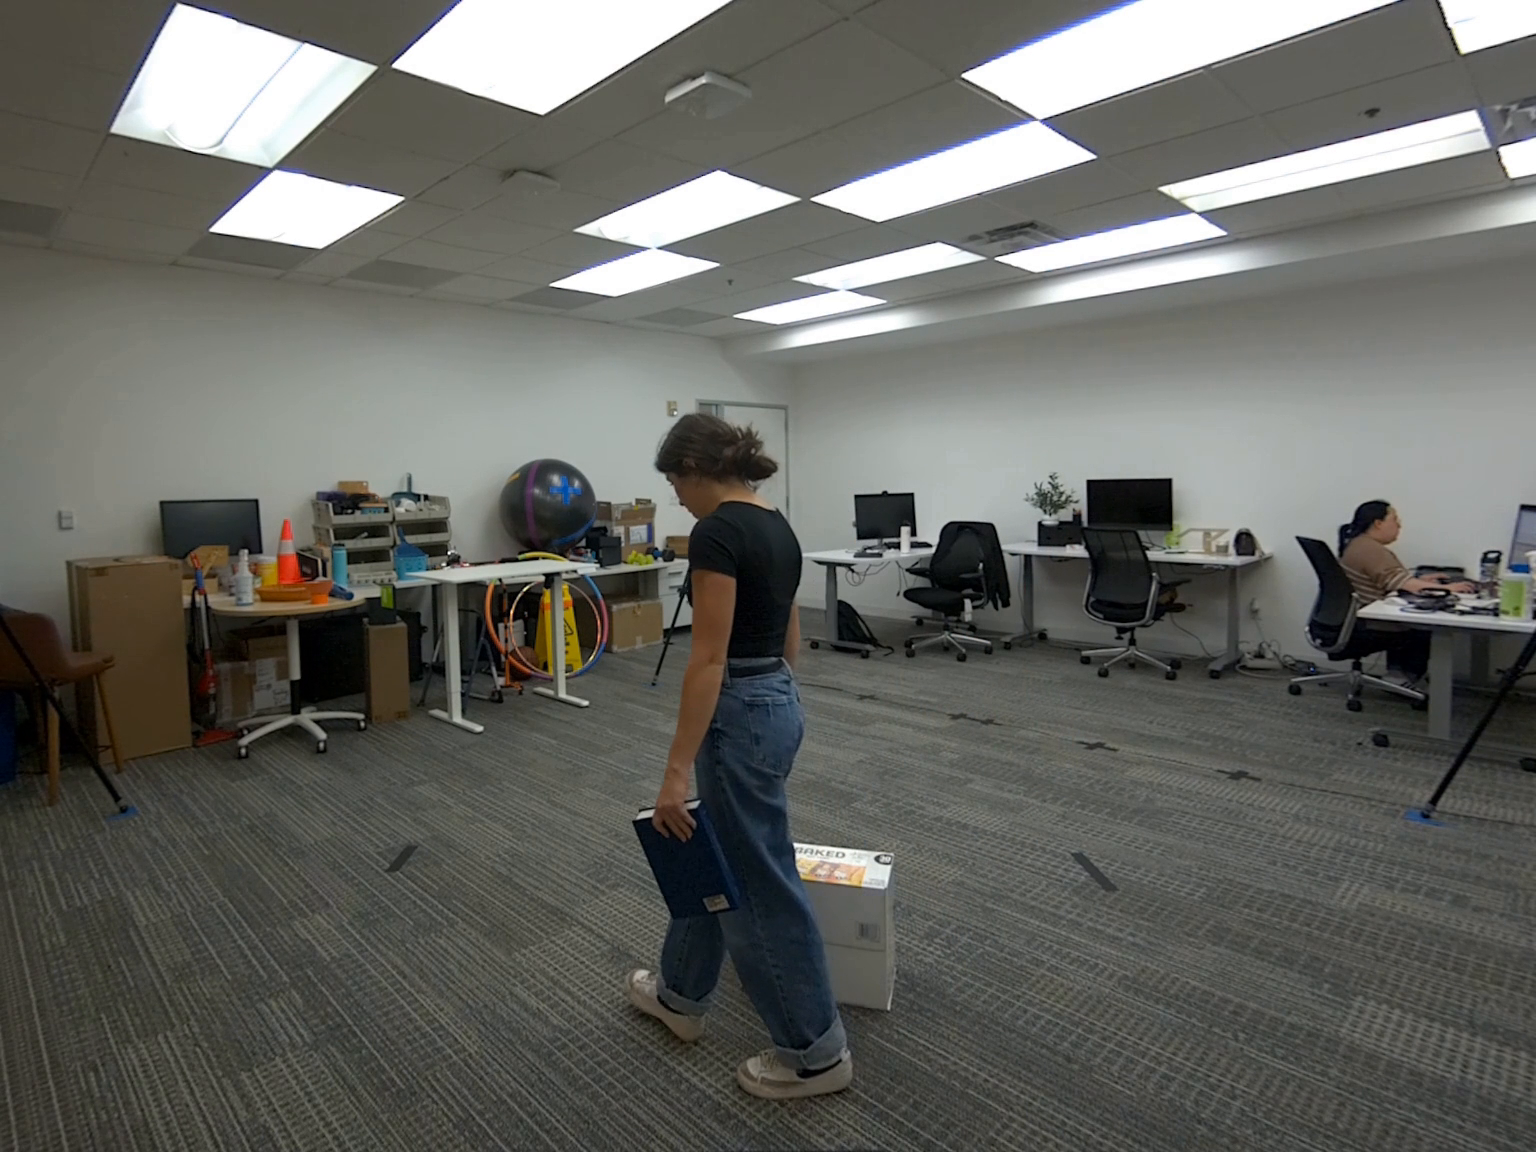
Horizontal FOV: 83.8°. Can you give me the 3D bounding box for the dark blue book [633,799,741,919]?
[{"bbox_3d":[-0.158,0.604,1.829,0.165,0.242,0.045,-17,9,18],"label":"dark blue book"}]
